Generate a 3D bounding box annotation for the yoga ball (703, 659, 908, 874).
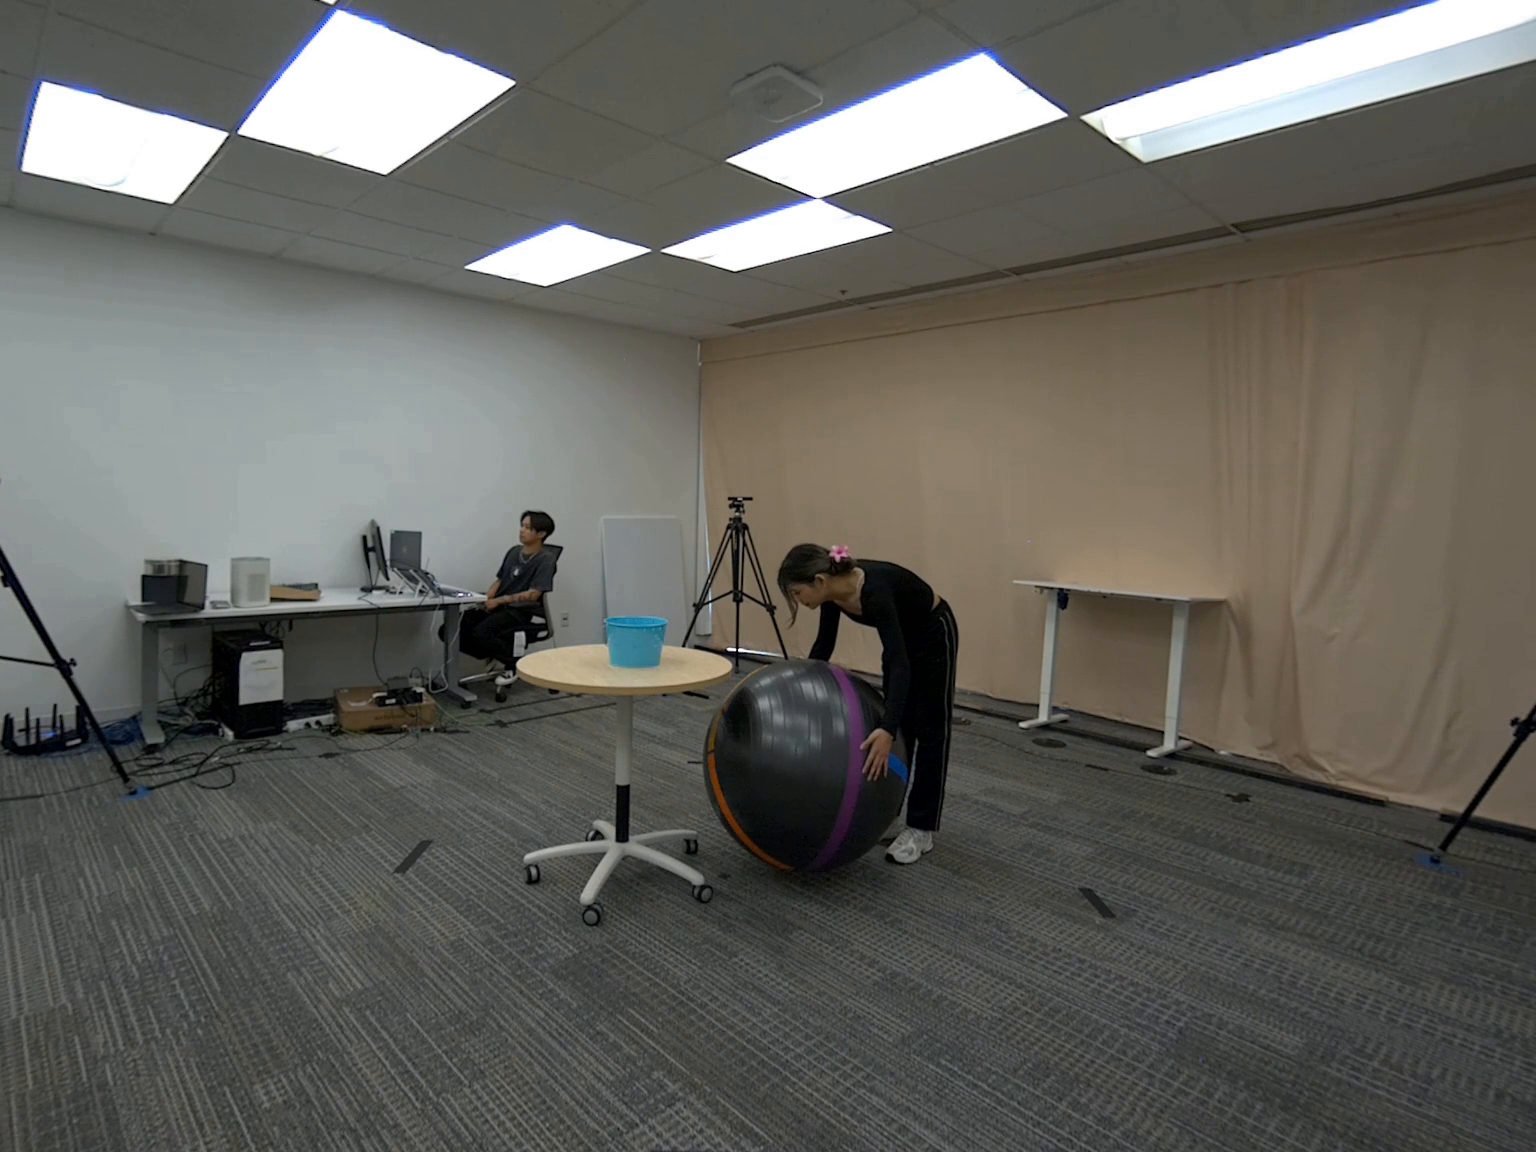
[{"bbox_3d":[0.138,0.700,3.126,0.757,0.756,0.761,1,4,-1],"label":"yoga ball"}]
